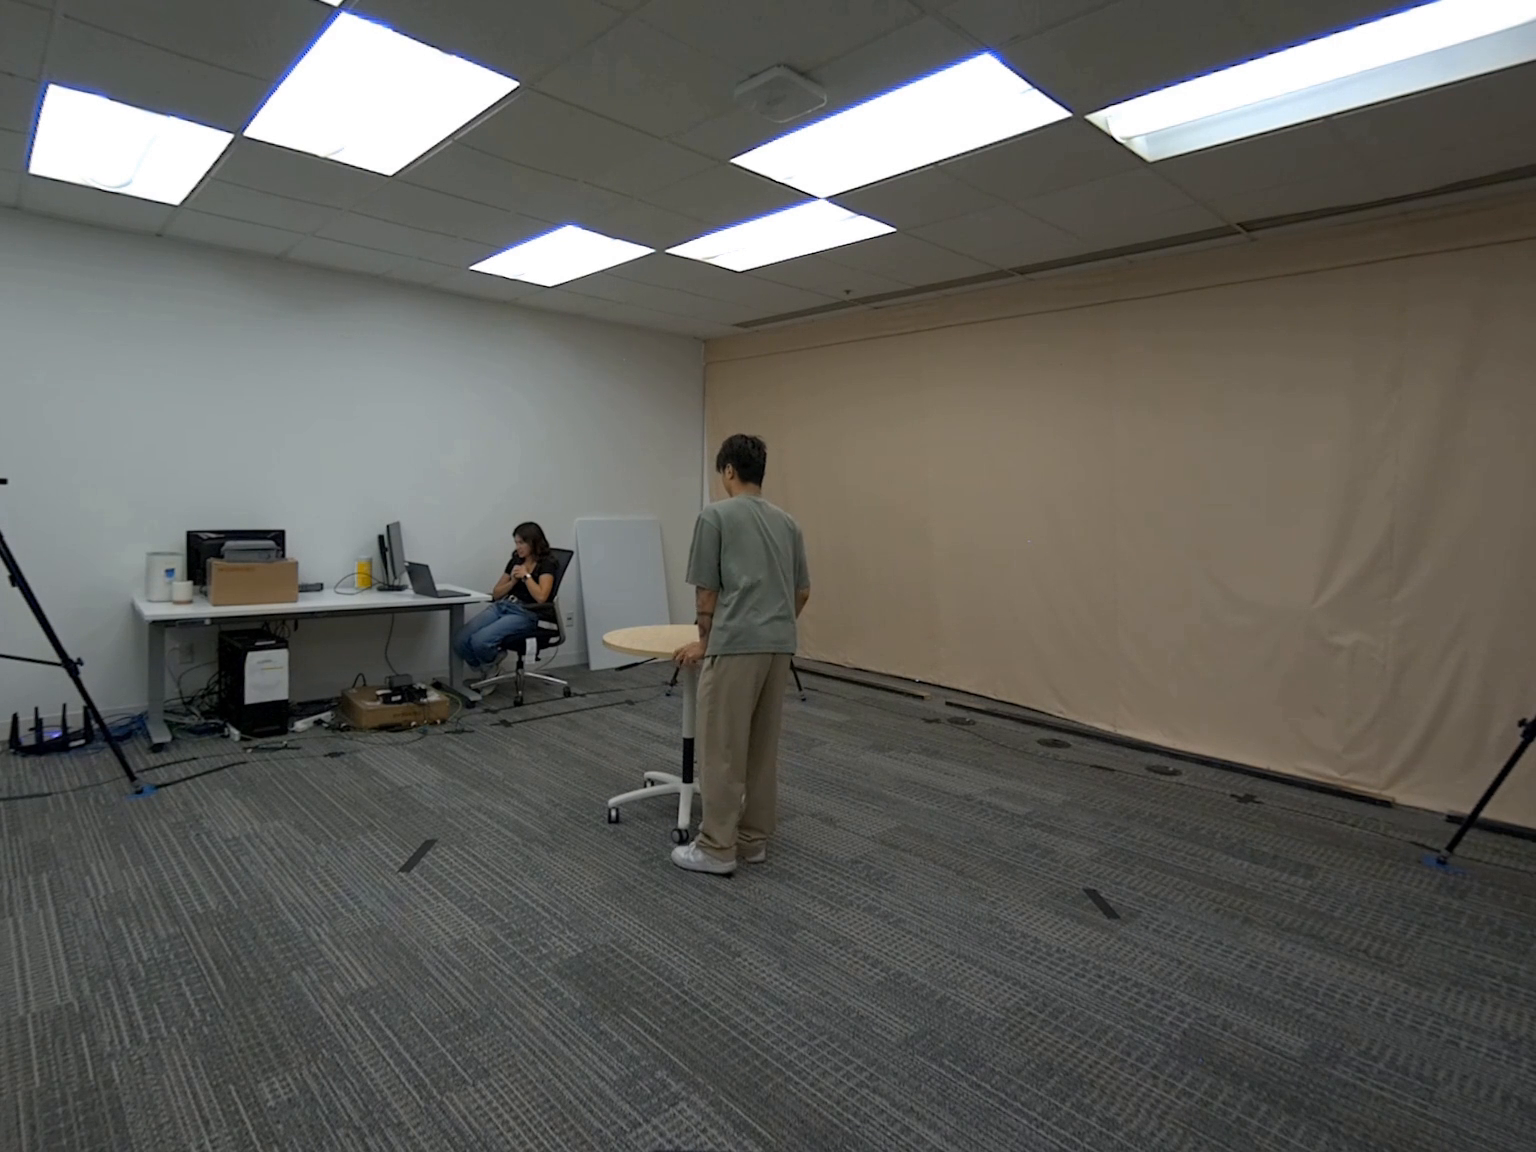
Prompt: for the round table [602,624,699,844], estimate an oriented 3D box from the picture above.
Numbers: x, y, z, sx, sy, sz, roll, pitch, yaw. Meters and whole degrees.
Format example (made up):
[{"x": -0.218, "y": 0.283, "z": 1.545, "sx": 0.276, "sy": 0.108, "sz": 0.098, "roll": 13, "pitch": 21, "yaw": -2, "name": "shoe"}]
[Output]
[{"x": -0.344, "y": 0.655, "z": 3.708, "sx": 0.784, "sy": 0.784, "sz": 0.787, "roll": 1, "pitch": 4, "yaw": -1, "name": "round table"}]
